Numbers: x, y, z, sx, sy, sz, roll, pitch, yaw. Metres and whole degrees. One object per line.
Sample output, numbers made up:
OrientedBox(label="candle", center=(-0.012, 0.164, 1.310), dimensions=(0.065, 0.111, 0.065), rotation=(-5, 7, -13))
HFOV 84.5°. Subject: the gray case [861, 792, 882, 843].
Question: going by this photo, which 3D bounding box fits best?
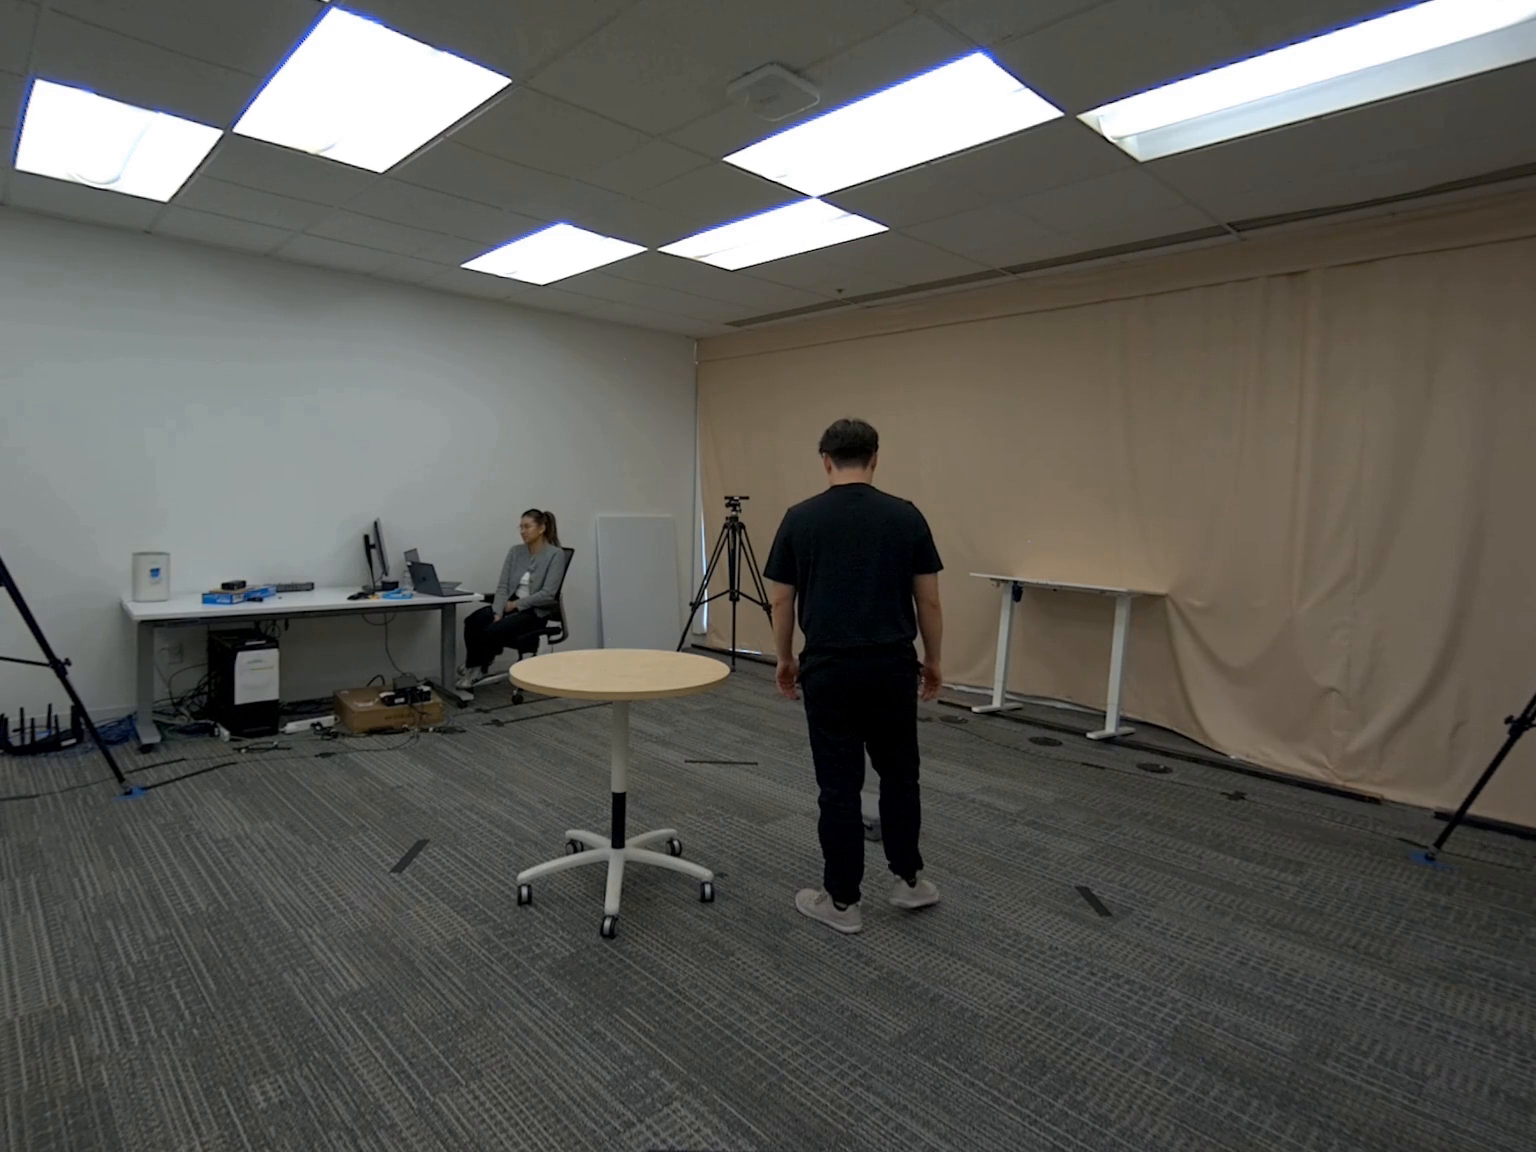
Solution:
OrientedBox(label="gray case", center=(0.427, 1.026, 3.616), dimensions=(0.263, 0.104, 0.254), rotation=(4, 3, 43))
